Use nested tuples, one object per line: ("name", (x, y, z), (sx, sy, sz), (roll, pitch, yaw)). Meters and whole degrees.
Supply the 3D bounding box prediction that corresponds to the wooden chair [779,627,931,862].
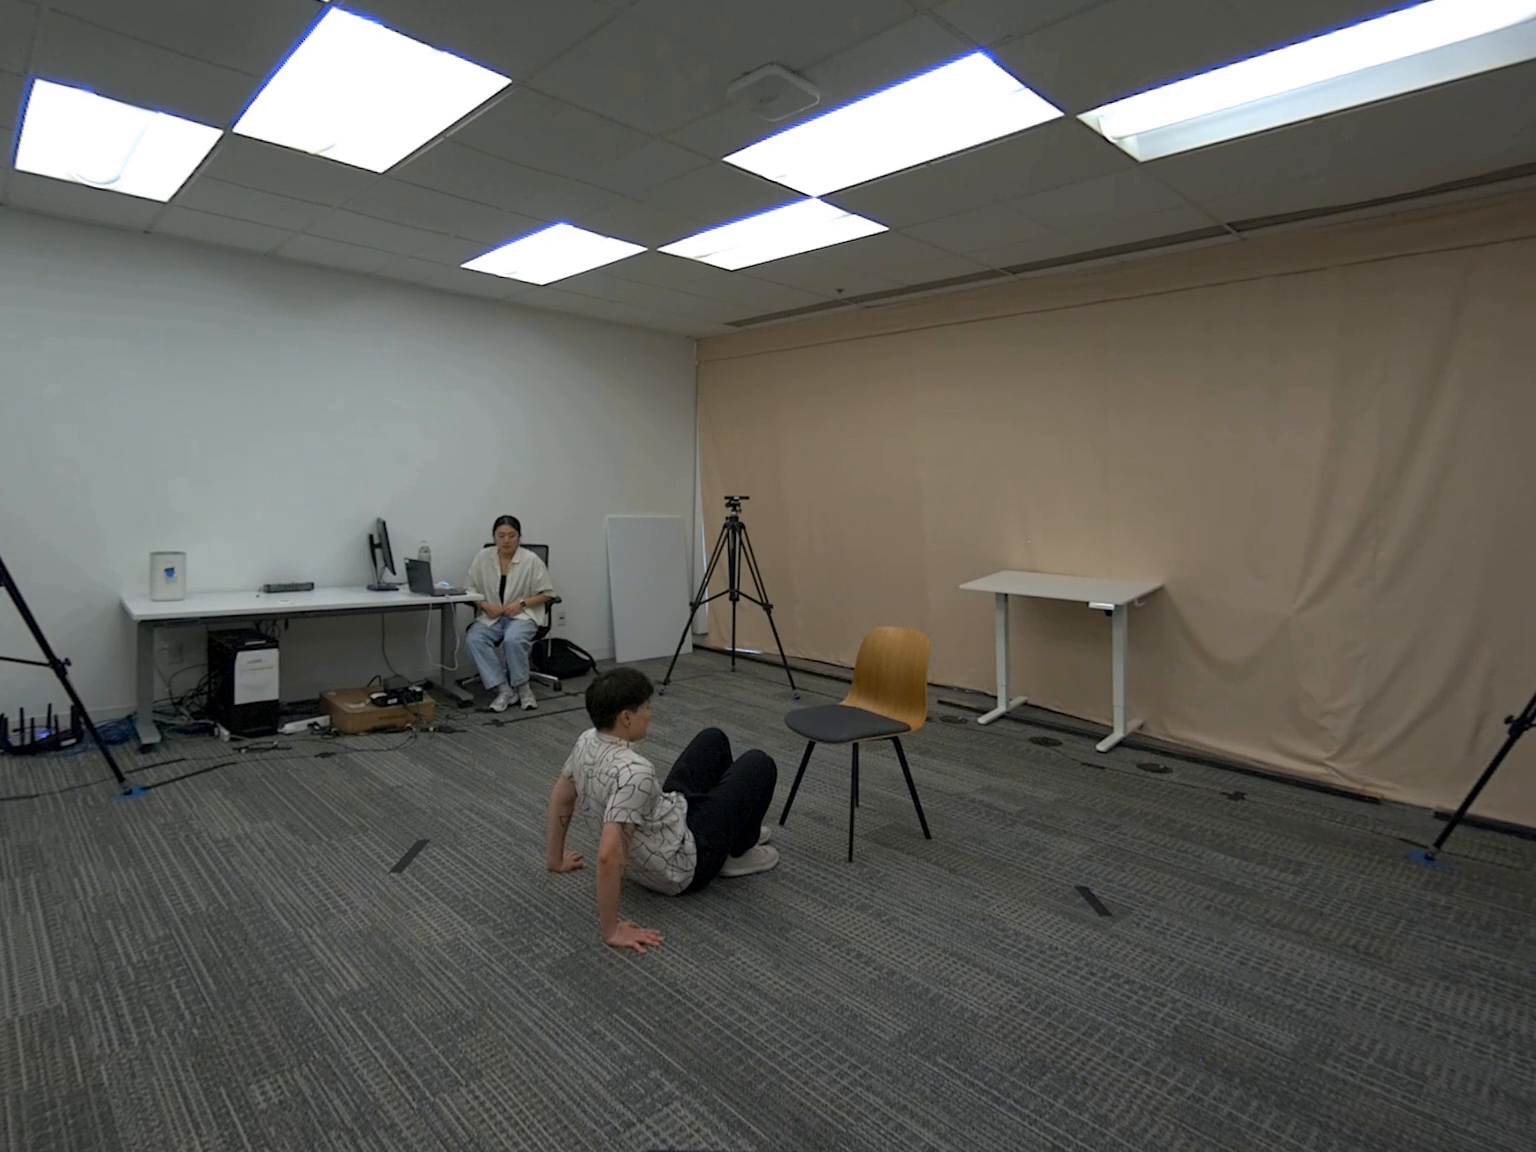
("wooden chair", (0.363, 0.653, 3.512), (0.511, 0.877, 0.490), (5, 1, -36))
